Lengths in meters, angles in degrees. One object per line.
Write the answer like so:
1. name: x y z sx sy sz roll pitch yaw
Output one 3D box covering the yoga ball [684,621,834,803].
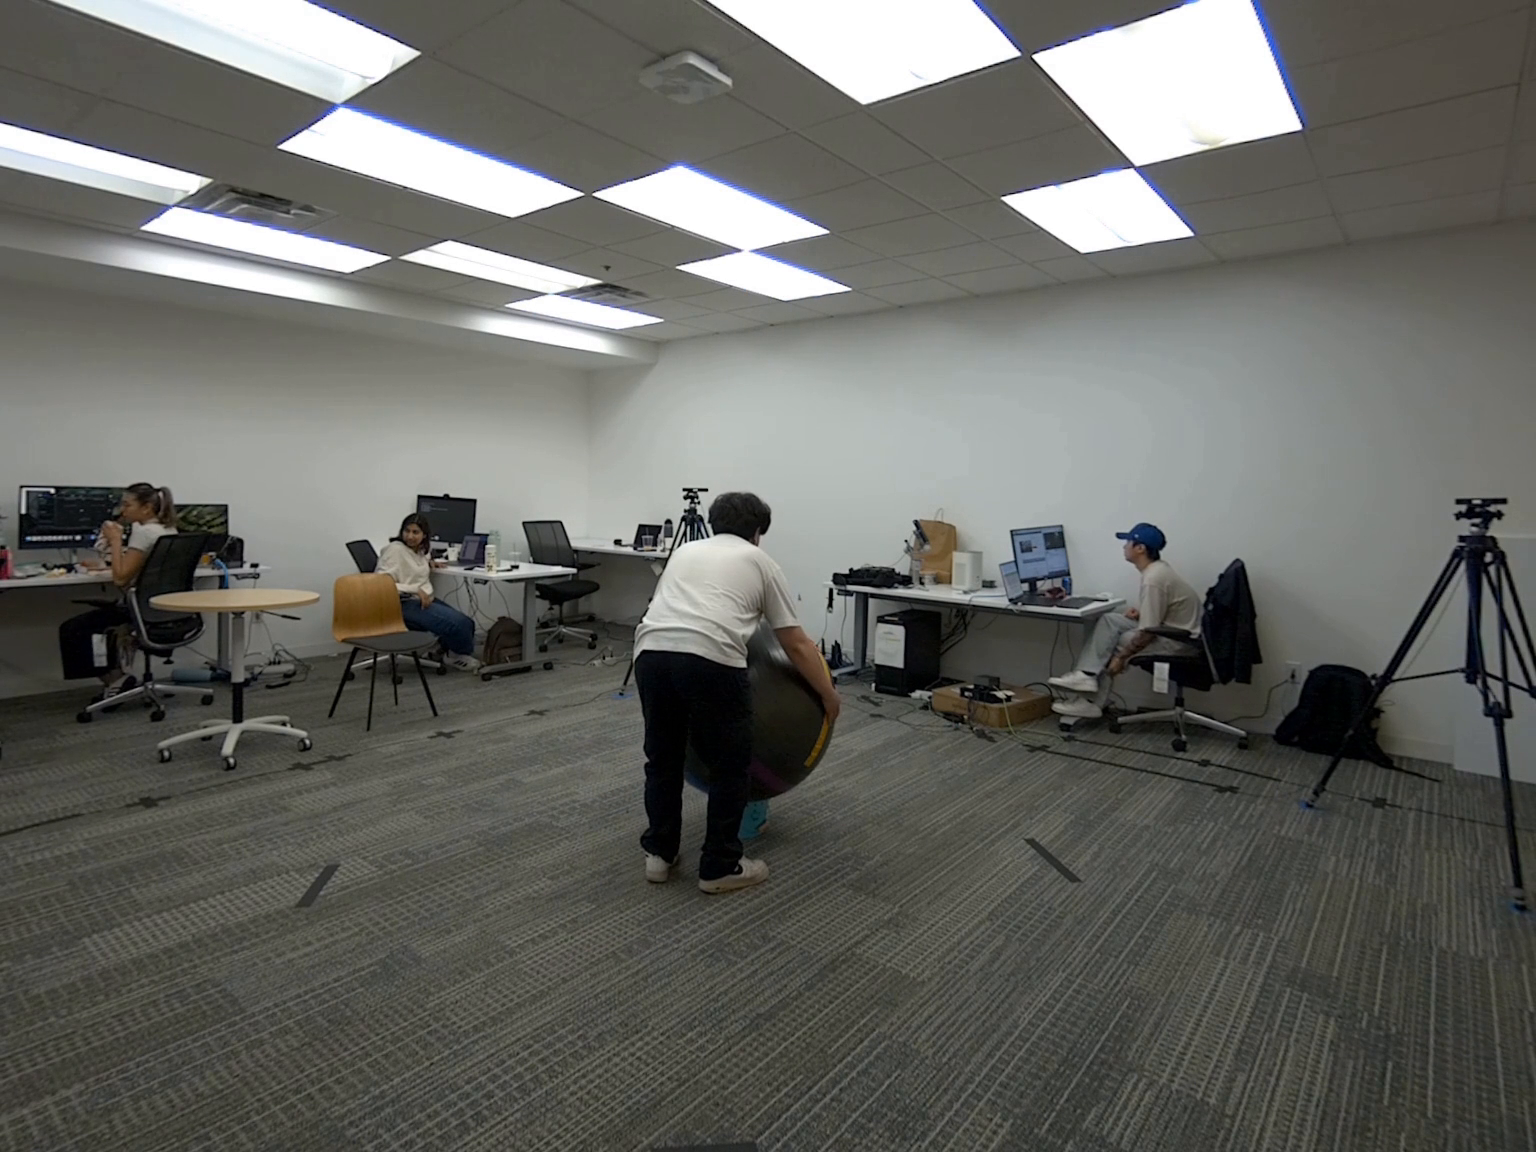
1. yoga ball: -0.103 0.523 3.475 0.757 0.755 0.762 1 4 -2
